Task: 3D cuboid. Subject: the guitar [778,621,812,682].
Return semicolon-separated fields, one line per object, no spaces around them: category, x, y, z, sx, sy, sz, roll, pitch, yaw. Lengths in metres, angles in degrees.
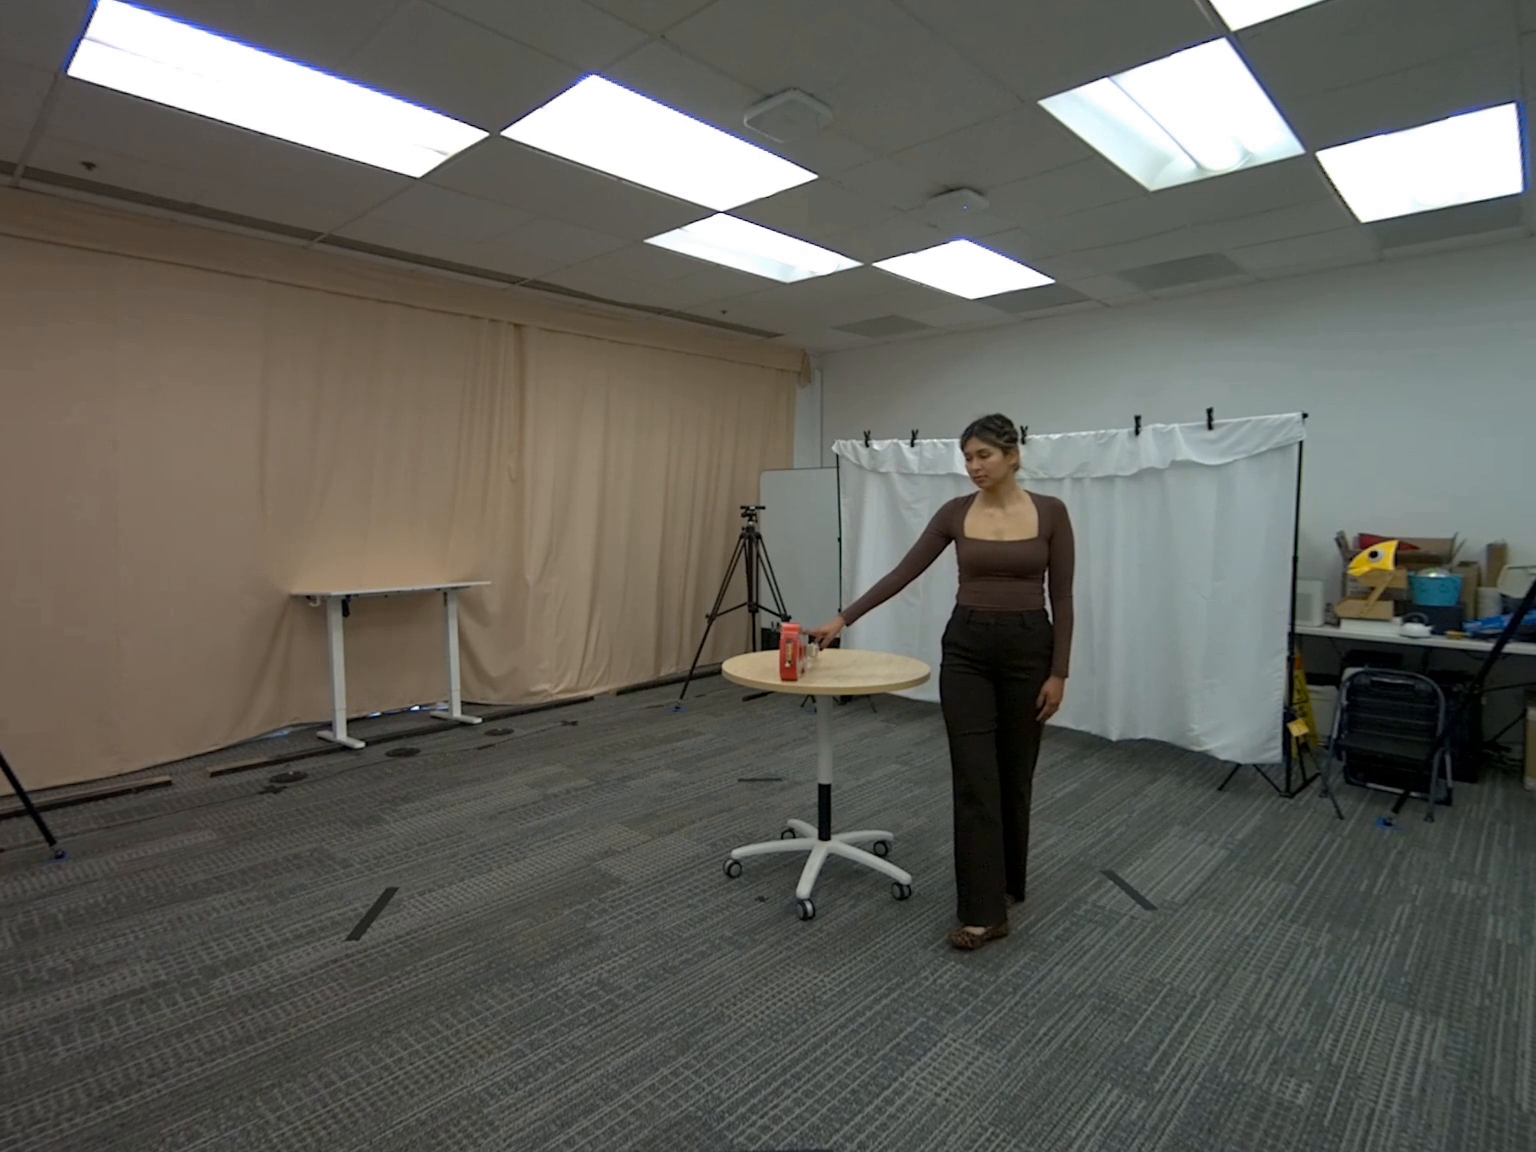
guitar;0.122;0.299;3.051;0.072;0.194;0.486;1;-13;12
